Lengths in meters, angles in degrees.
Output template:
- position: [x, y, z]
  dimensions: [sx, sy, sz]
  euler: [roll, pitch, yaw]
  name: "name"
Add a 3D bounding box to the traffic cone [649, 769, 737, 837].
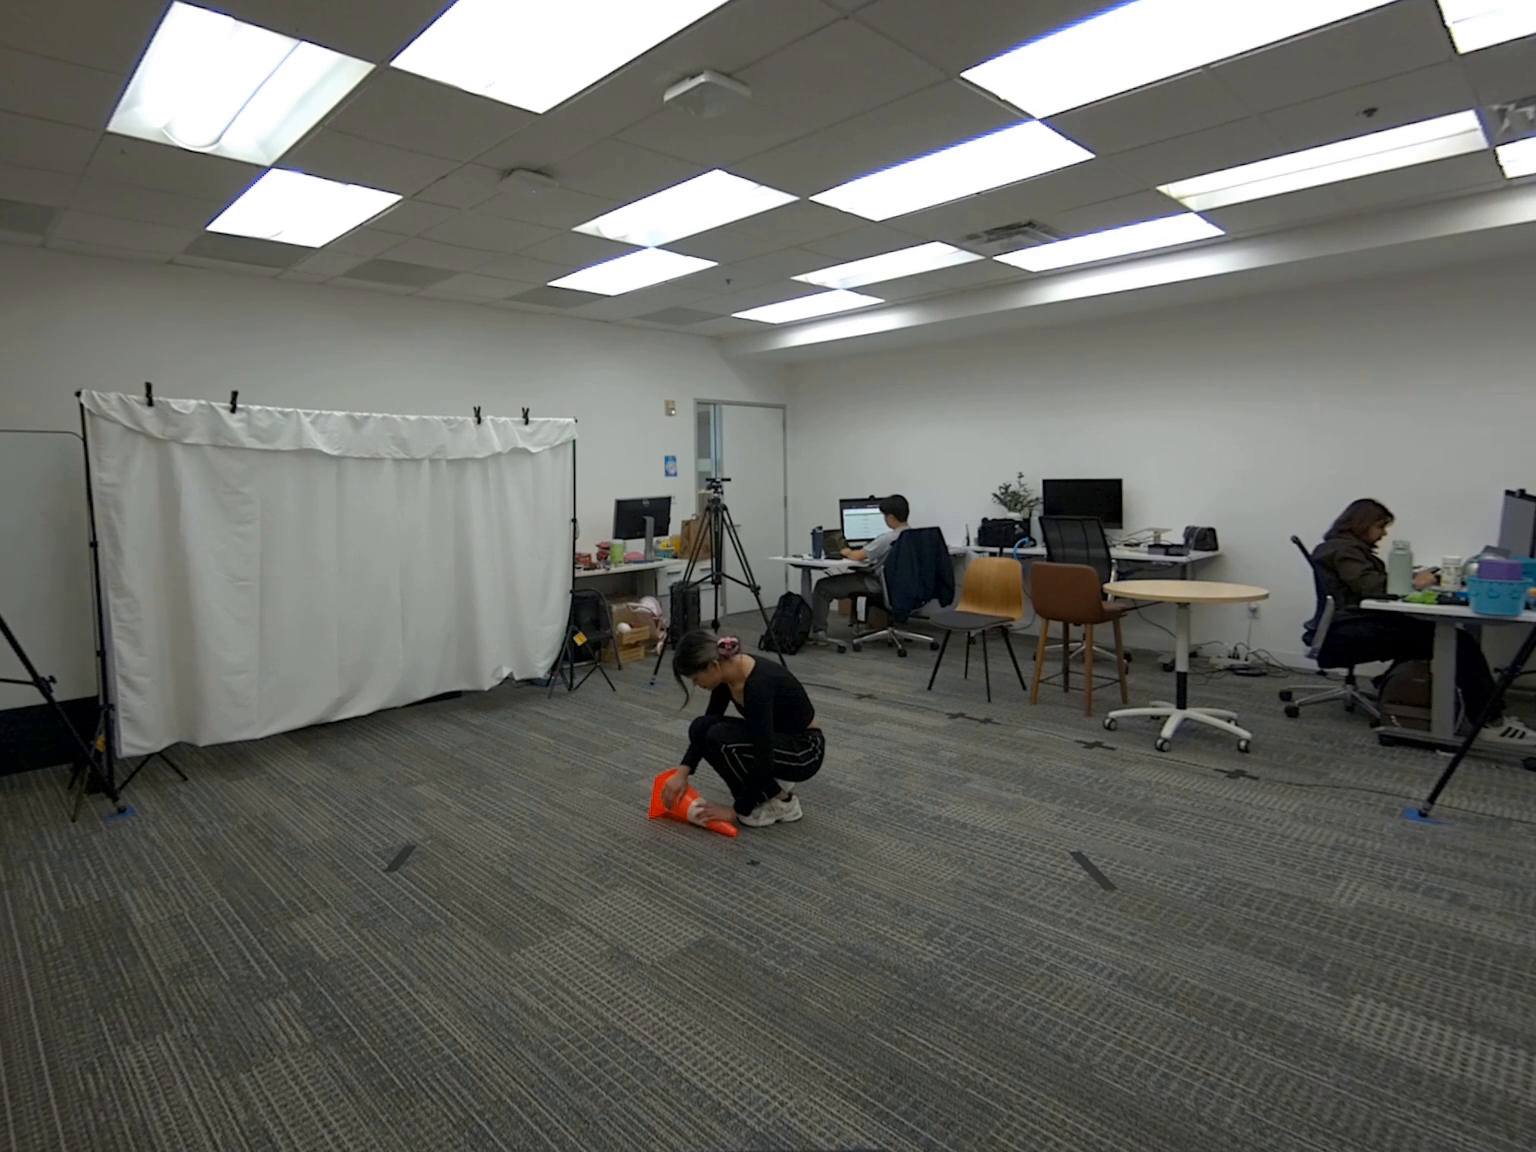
- position: [-0.272, 0.954, 3.460]
  dimensions: [0.397, 0.201, 0.200]
  euler: [22, 17, 37]
  name: "traffic cone"
